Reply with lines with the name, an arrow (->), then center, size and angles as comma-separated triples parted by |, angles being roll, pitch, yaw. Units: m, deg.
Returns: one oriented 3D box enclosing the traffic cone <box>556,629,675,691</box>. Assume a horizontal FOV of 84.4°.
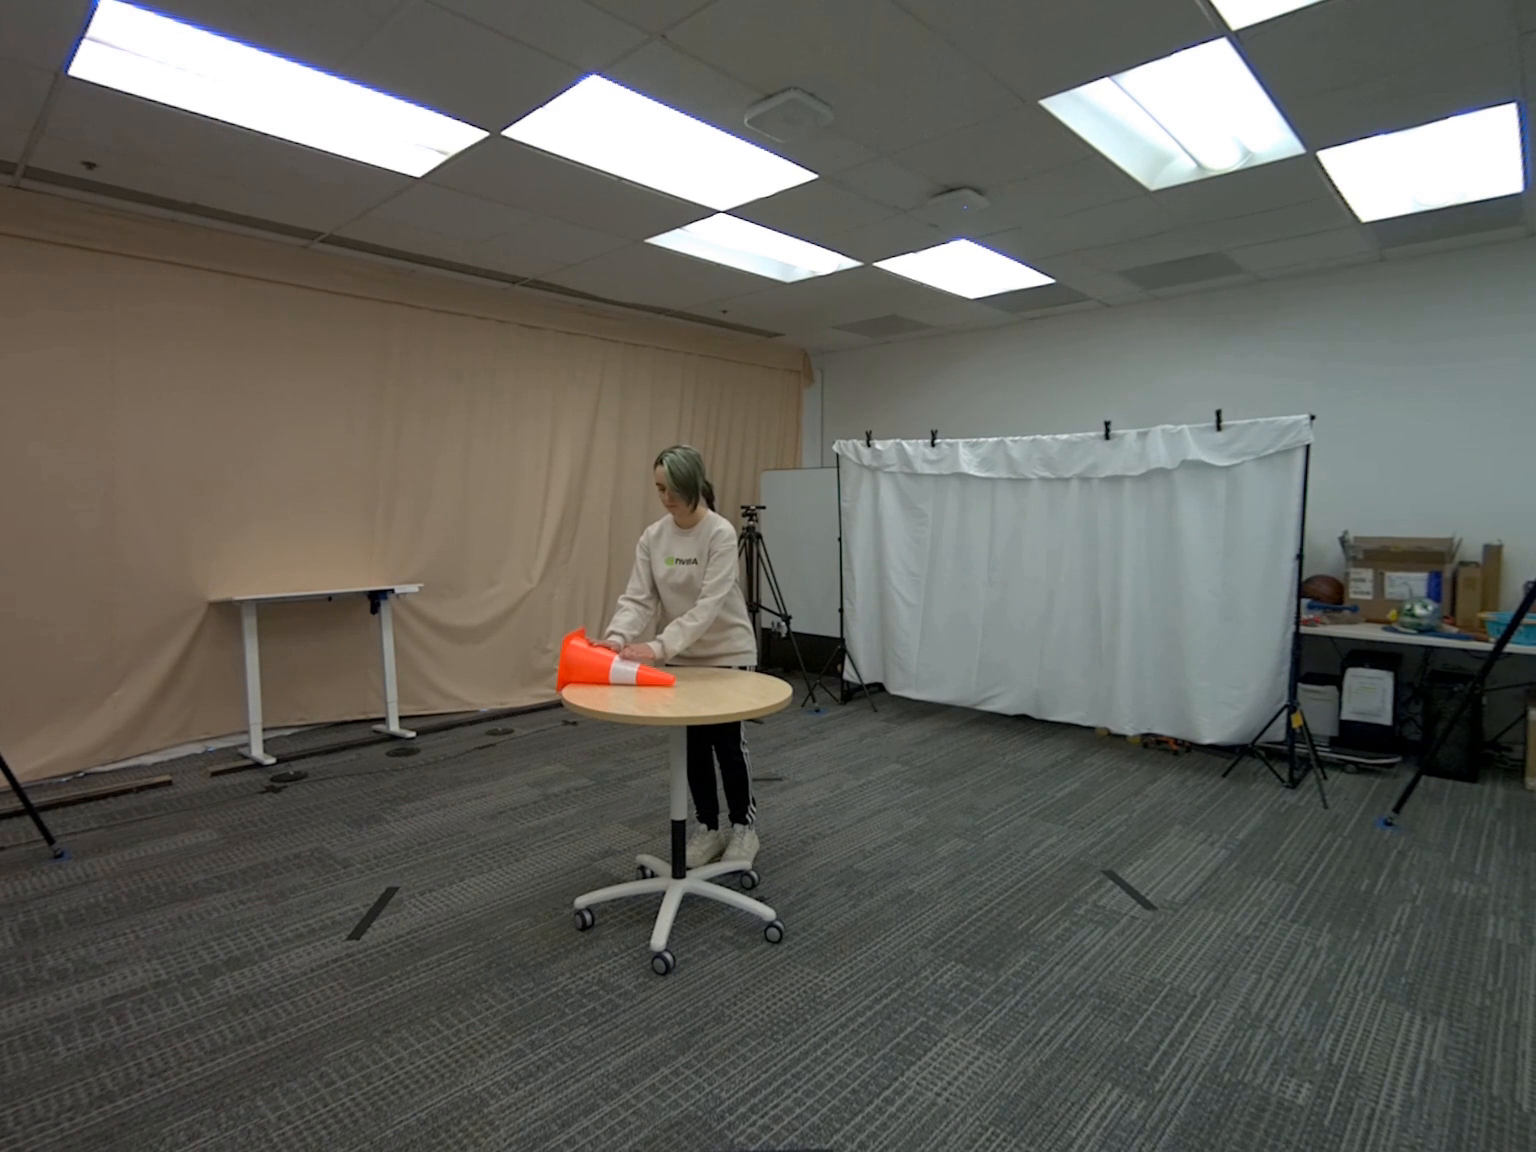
traffic cone -> -0.494, 0.322, 2.882 | 0.389, 0.202, 0.203 | 9, 10, 11
